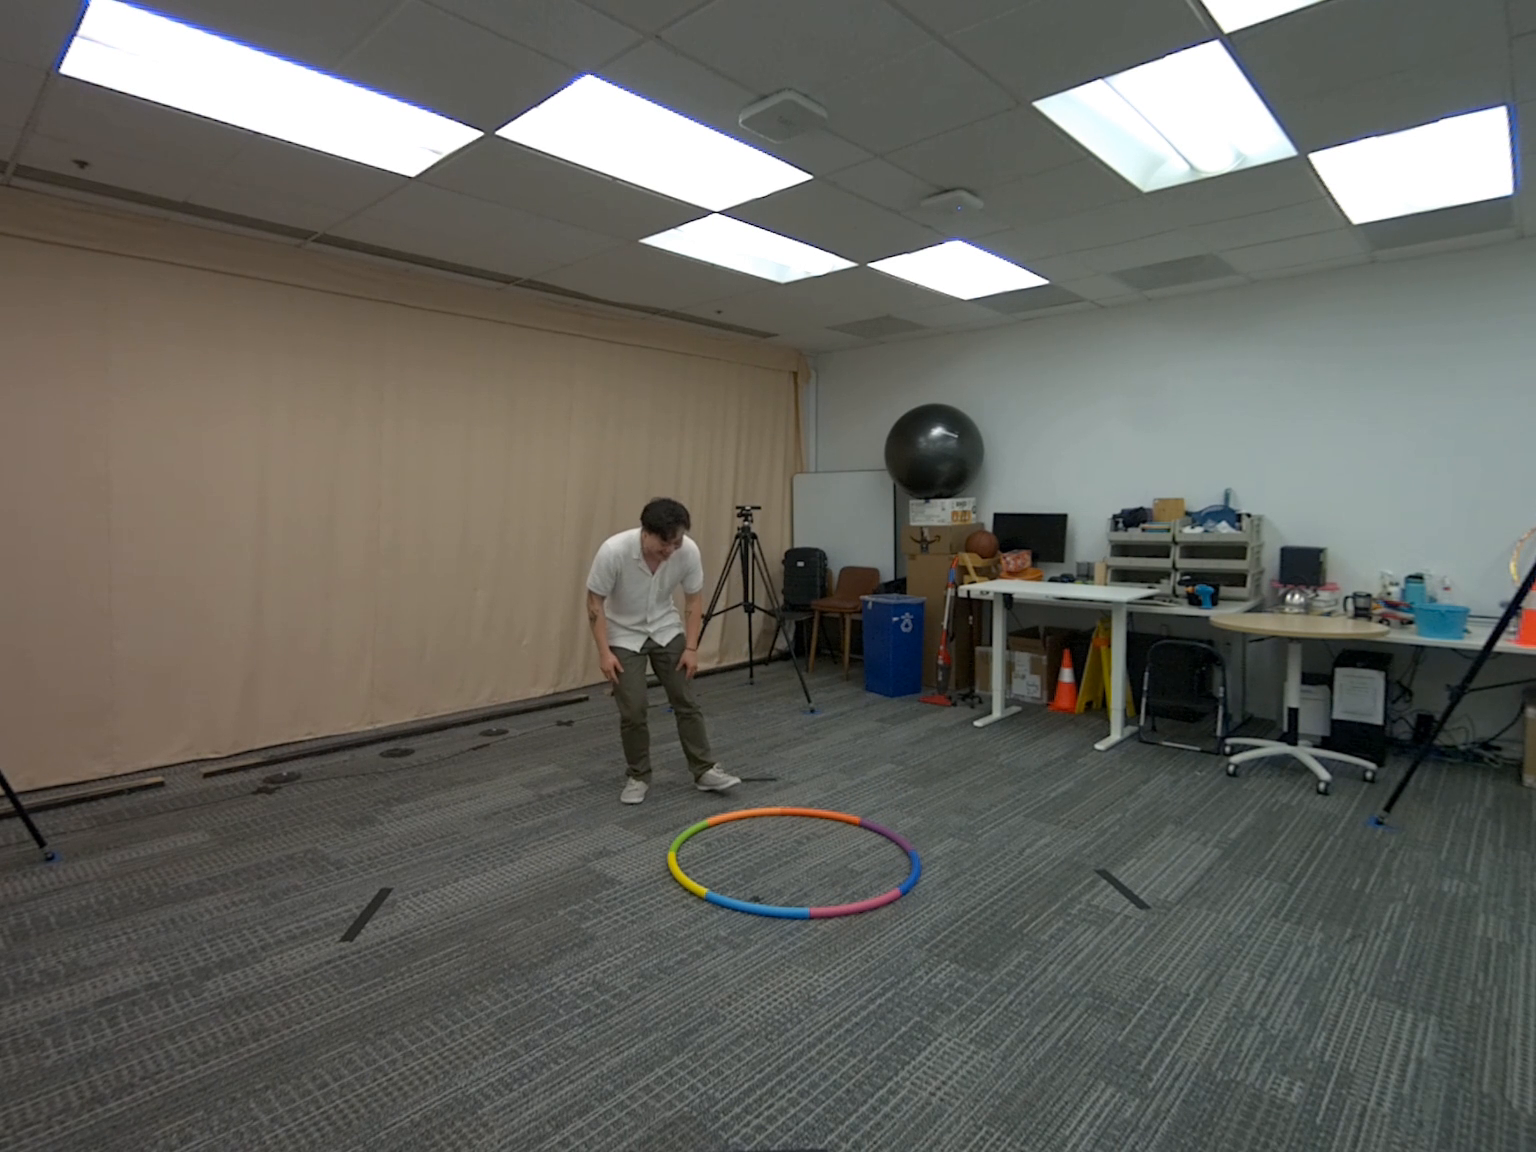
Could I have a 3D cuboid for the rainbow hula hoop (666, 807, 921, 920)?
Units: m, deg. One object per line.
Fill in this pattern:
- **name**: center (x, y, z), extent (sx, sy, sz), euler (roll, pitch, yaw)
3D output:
- **rainbow hula hoop**: center (0.096, 1.087, 3.313), extent (0.978, 0.035, 0.982), euler (0, 5, -2)
